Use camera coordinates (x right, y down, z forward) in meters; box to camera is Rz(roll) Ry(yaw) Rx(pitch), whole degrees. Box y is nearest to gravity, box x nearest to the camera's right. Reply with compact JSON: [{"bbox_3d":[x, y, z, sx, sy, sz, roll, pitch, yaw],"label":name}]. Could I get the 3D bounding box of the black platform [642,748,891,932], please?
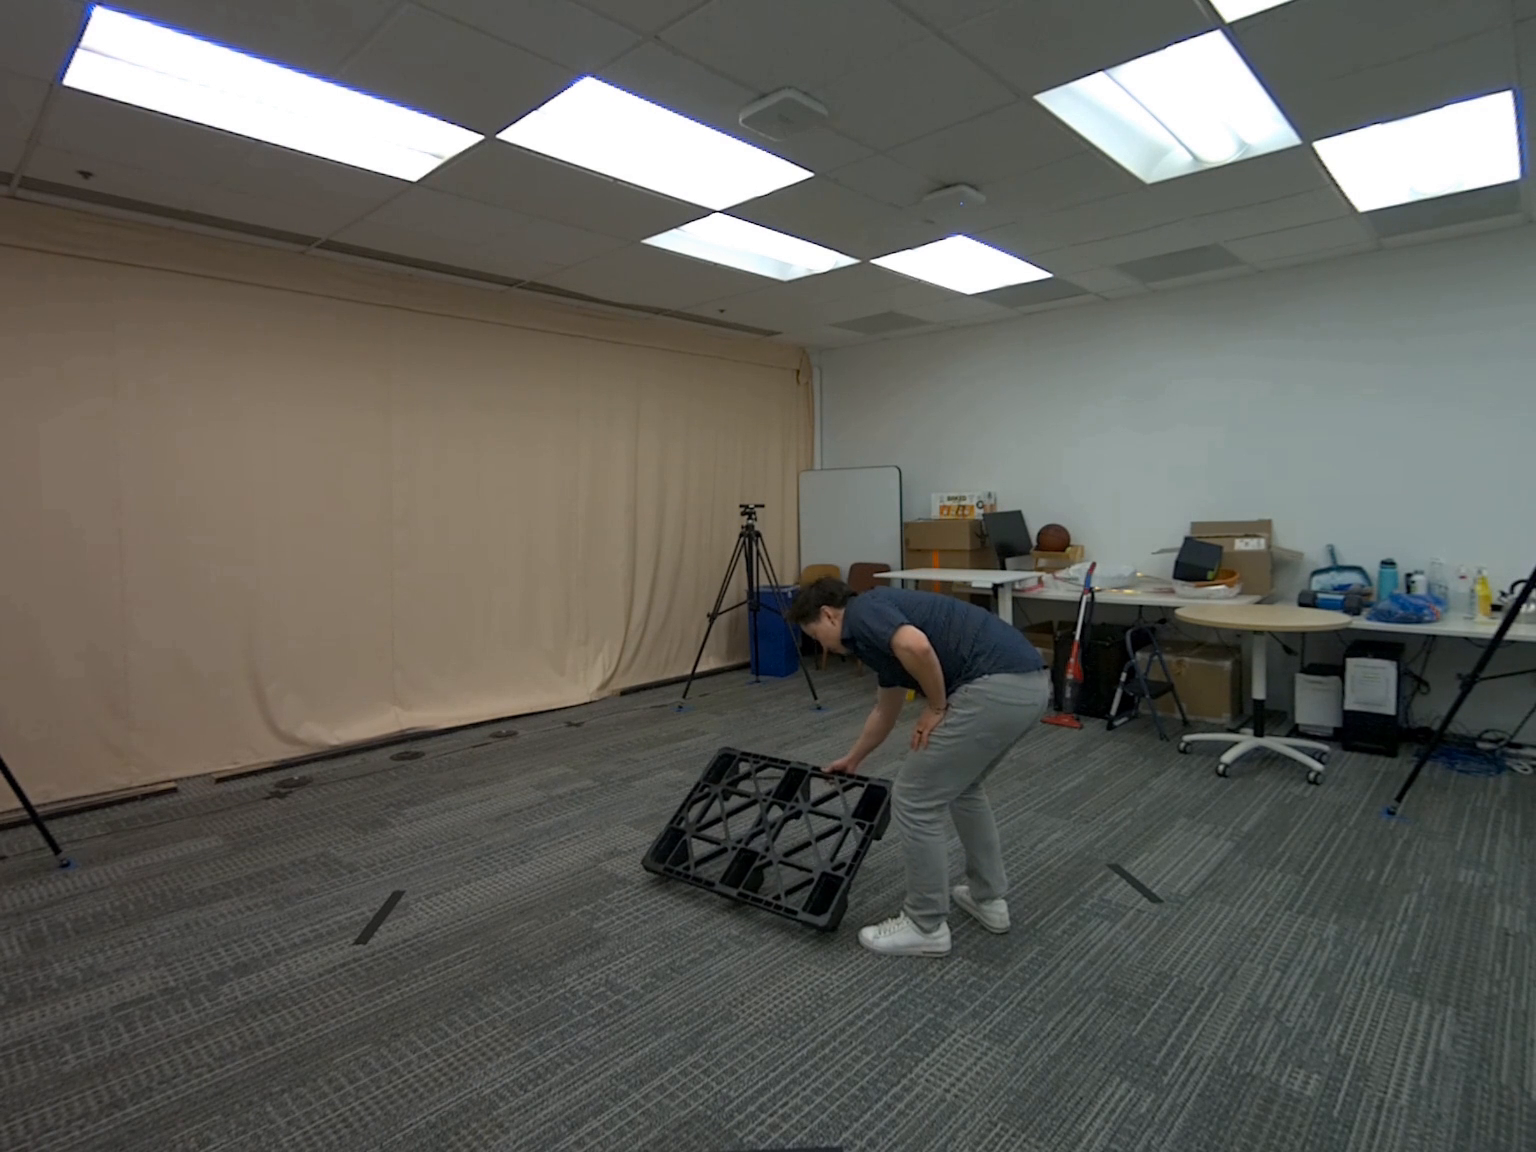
[{"bbox_3d":[0.019,0.948,3.089,0.831,0.140,0.601,3,38,37],"label":"black platform"}]
